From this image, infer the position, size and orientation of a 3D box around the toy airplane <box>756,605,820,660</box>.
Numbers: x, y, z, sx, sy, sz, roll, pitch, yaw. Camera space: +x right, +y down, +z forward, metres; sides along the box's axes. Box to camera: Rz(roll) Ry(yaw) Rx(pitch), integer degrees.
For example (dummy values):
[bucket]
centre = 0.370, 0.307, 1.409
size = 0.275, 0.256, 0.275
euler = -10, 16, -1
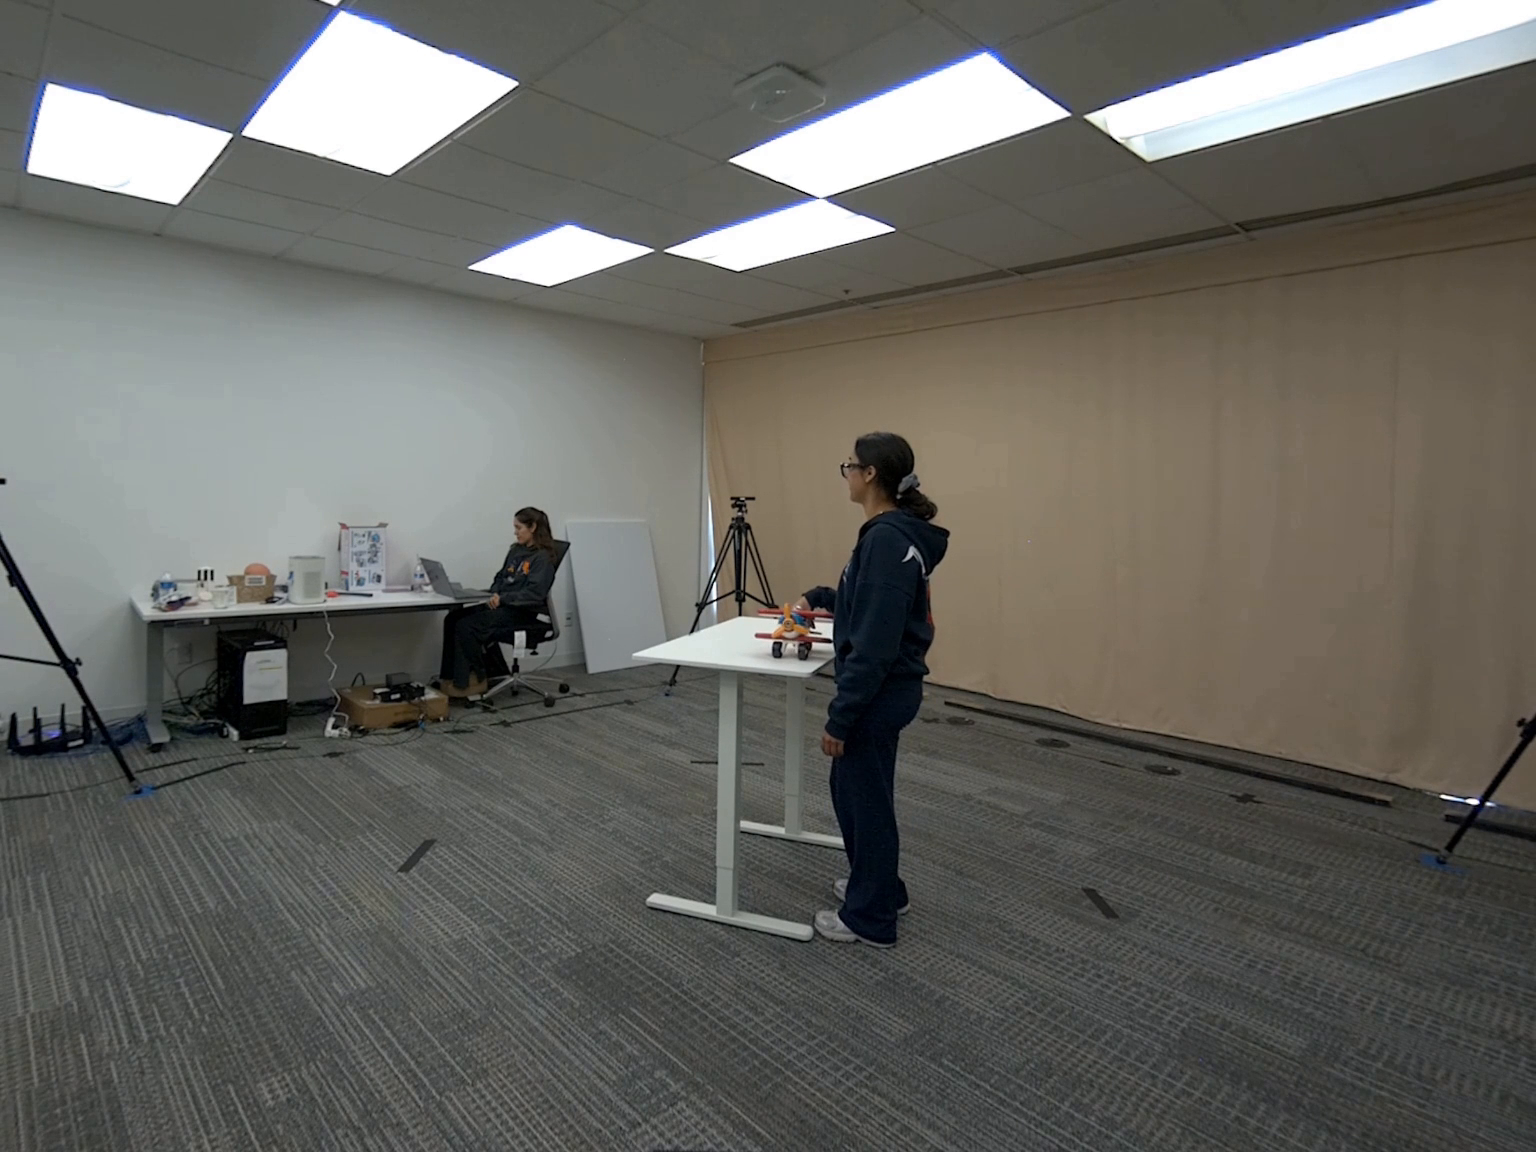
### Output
[toy airplane]
centre = 0.075, 0.181, 2.797
size = 0.249, 0.156, 0.262
euler = -1, 7, -9
